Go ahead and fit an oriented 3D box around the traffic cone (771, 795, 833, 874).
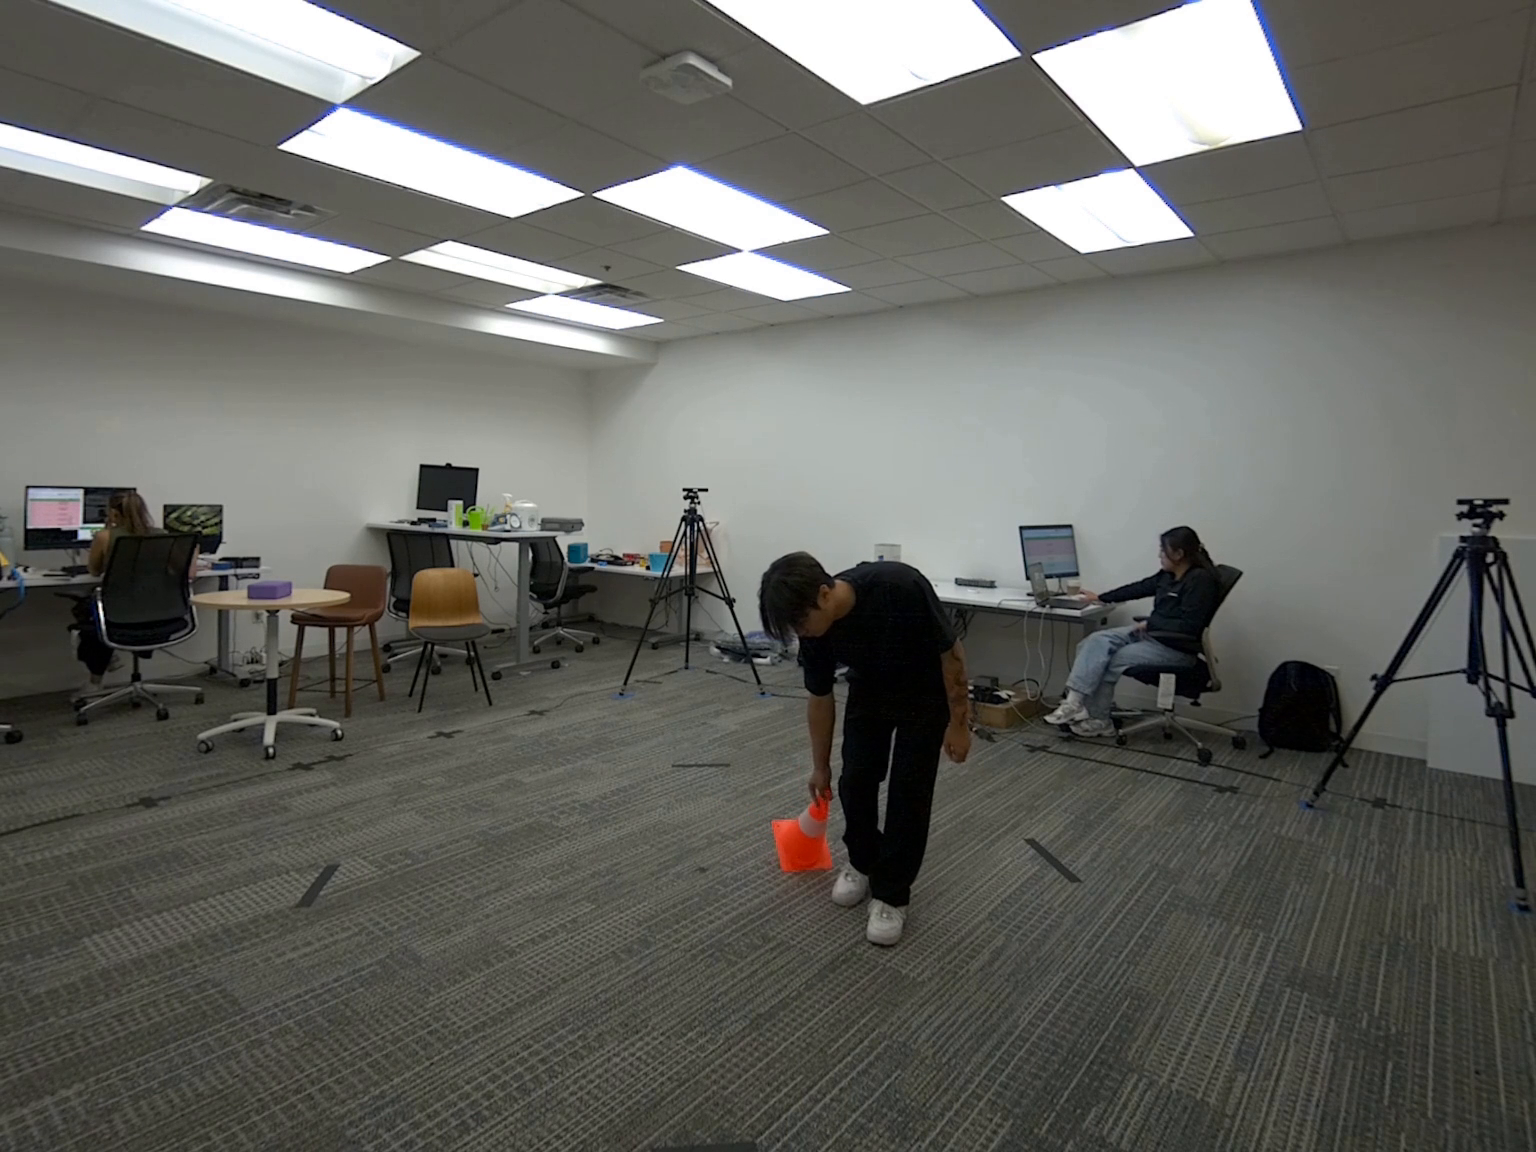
[{"bbox_3d":[0.155,0.877,3.069,0.200,0.376,0.212,1,45,-15],"label":"traffic cone"}]
